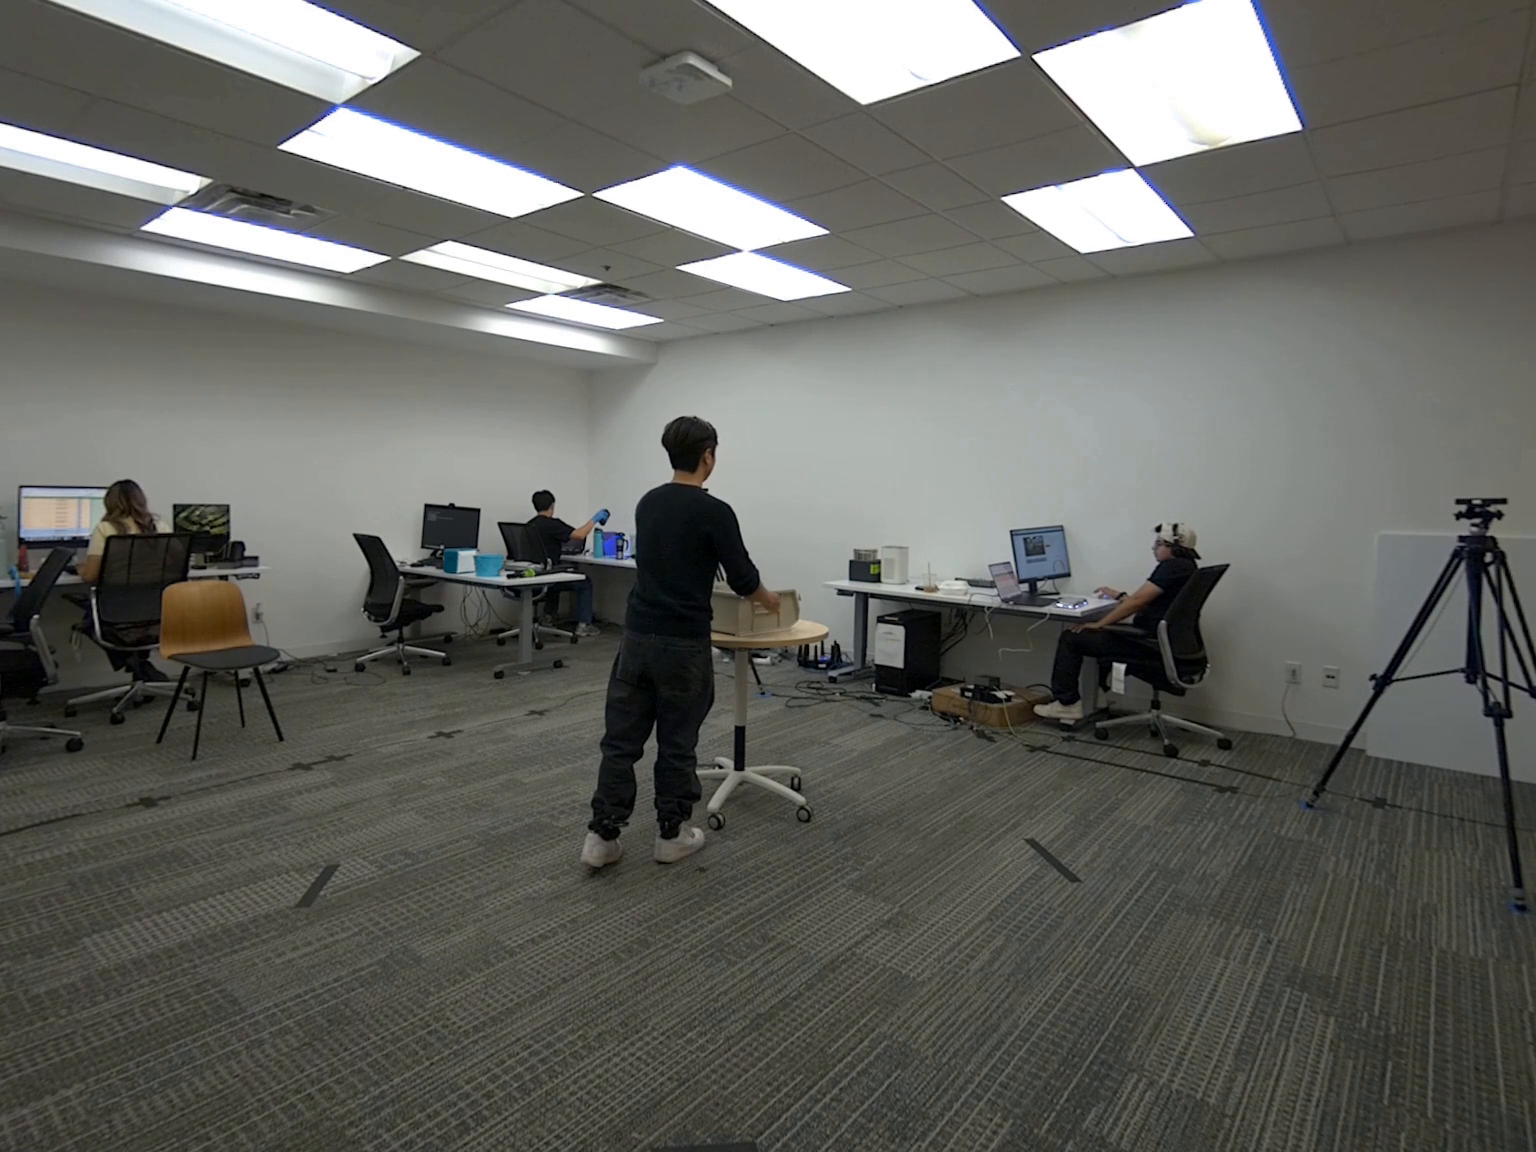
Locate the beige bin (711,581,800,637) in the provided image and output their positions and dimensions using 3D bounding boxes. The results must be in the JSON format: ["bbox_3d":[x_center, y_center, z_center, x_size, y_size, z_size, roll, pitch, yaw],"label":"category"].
[{"bbox_3d":[-0.148,0.134,3.751,0.366,0.188,0.437,-6,9,-44],"label":"beige bin"}]
